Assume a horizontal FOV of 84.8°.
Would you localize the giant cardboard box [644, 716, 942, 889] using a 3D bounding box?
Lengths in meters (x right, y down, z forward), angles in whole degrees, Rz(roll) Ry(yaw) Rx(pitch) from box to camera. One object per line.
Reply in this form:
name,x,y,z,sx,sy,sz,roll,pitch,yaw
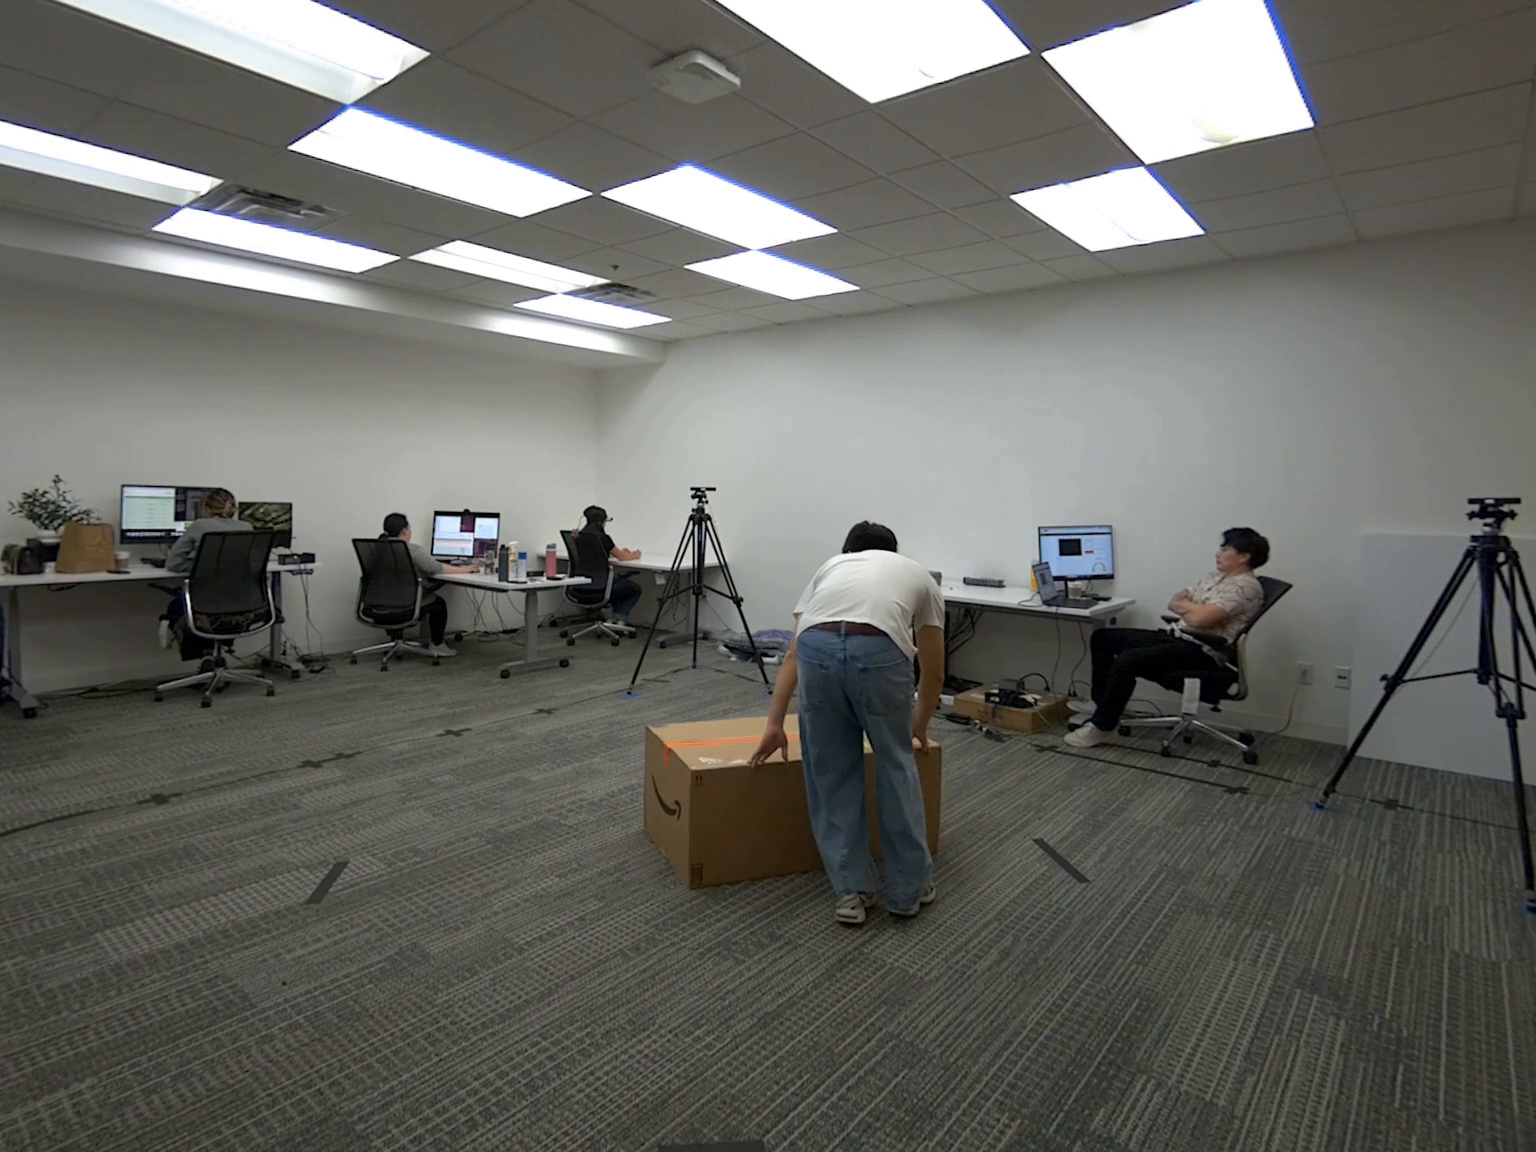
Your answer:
giant cardboard box,0.066,0.829,3.367,1.004,0.424,0.592,-1,6,-22
